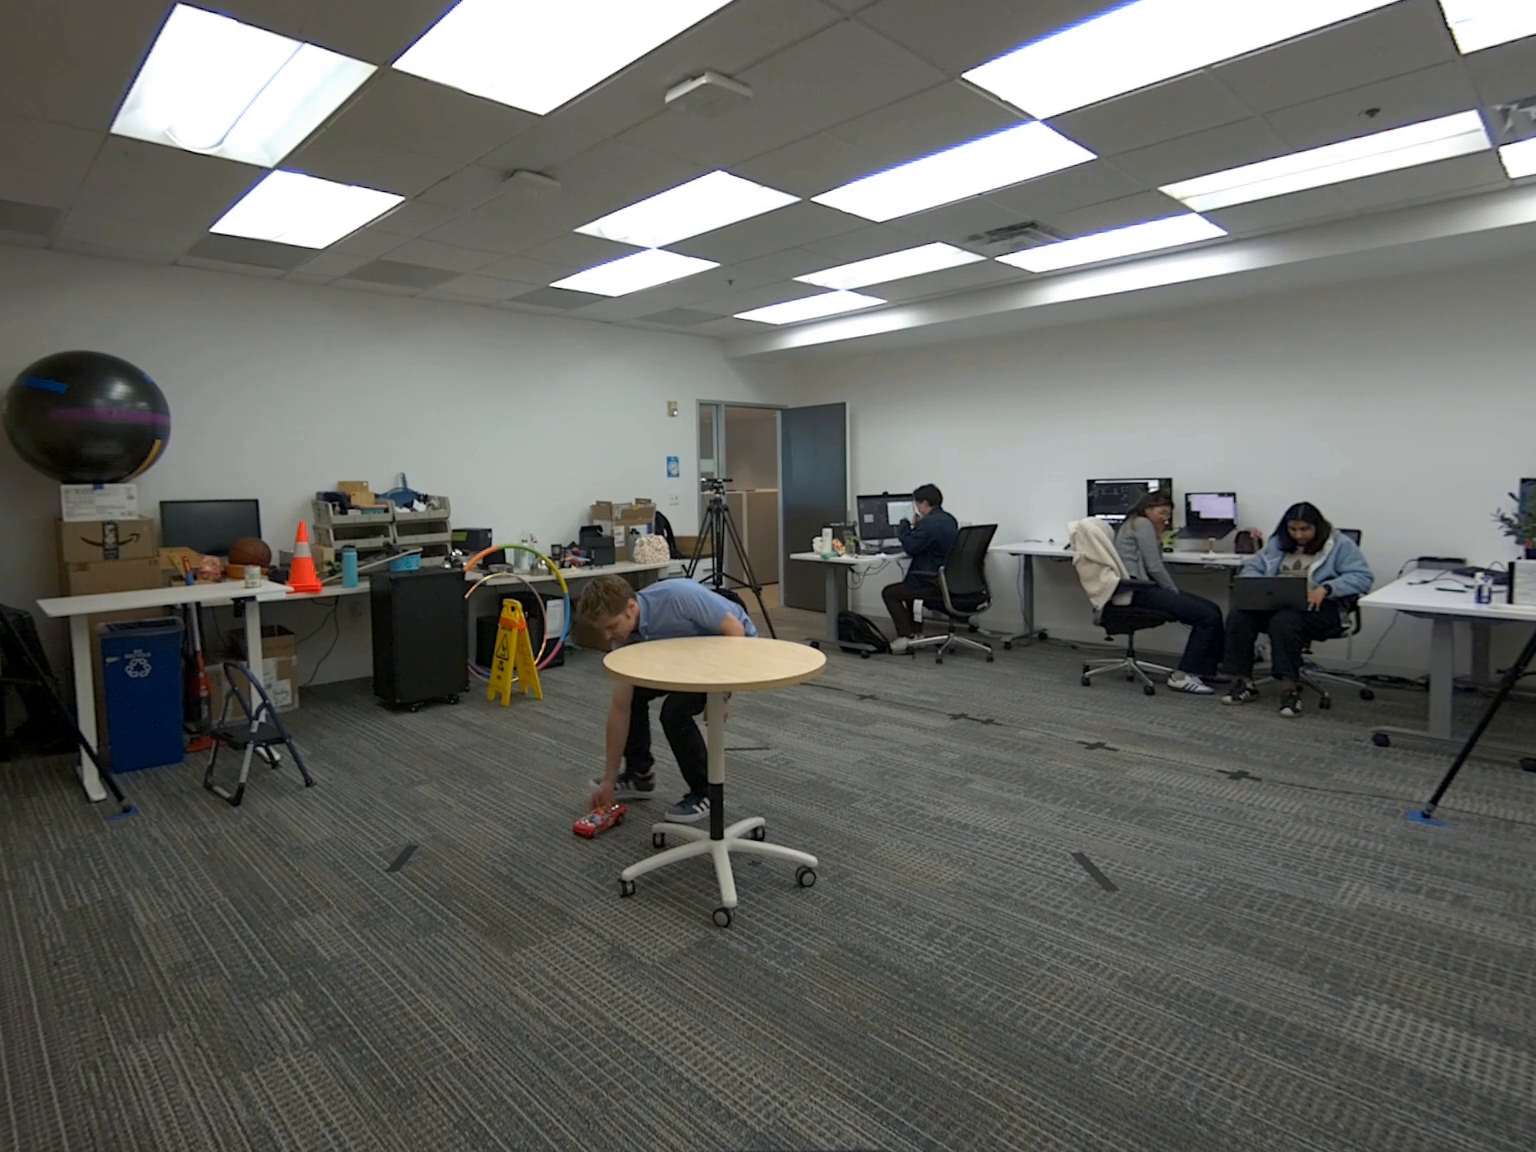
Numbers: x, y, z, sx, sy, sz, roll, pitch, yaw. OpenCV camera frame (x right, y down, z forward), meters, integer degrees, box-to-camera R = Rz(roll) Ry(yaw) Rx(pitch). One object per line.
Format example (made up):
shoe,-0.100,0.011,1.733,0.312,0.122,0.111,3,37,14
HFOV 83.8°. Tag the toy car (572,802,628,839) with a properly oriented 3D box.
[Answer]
toy car,-0.675,0.989,3.461,0.134,0.082,0.251,1,17,31
